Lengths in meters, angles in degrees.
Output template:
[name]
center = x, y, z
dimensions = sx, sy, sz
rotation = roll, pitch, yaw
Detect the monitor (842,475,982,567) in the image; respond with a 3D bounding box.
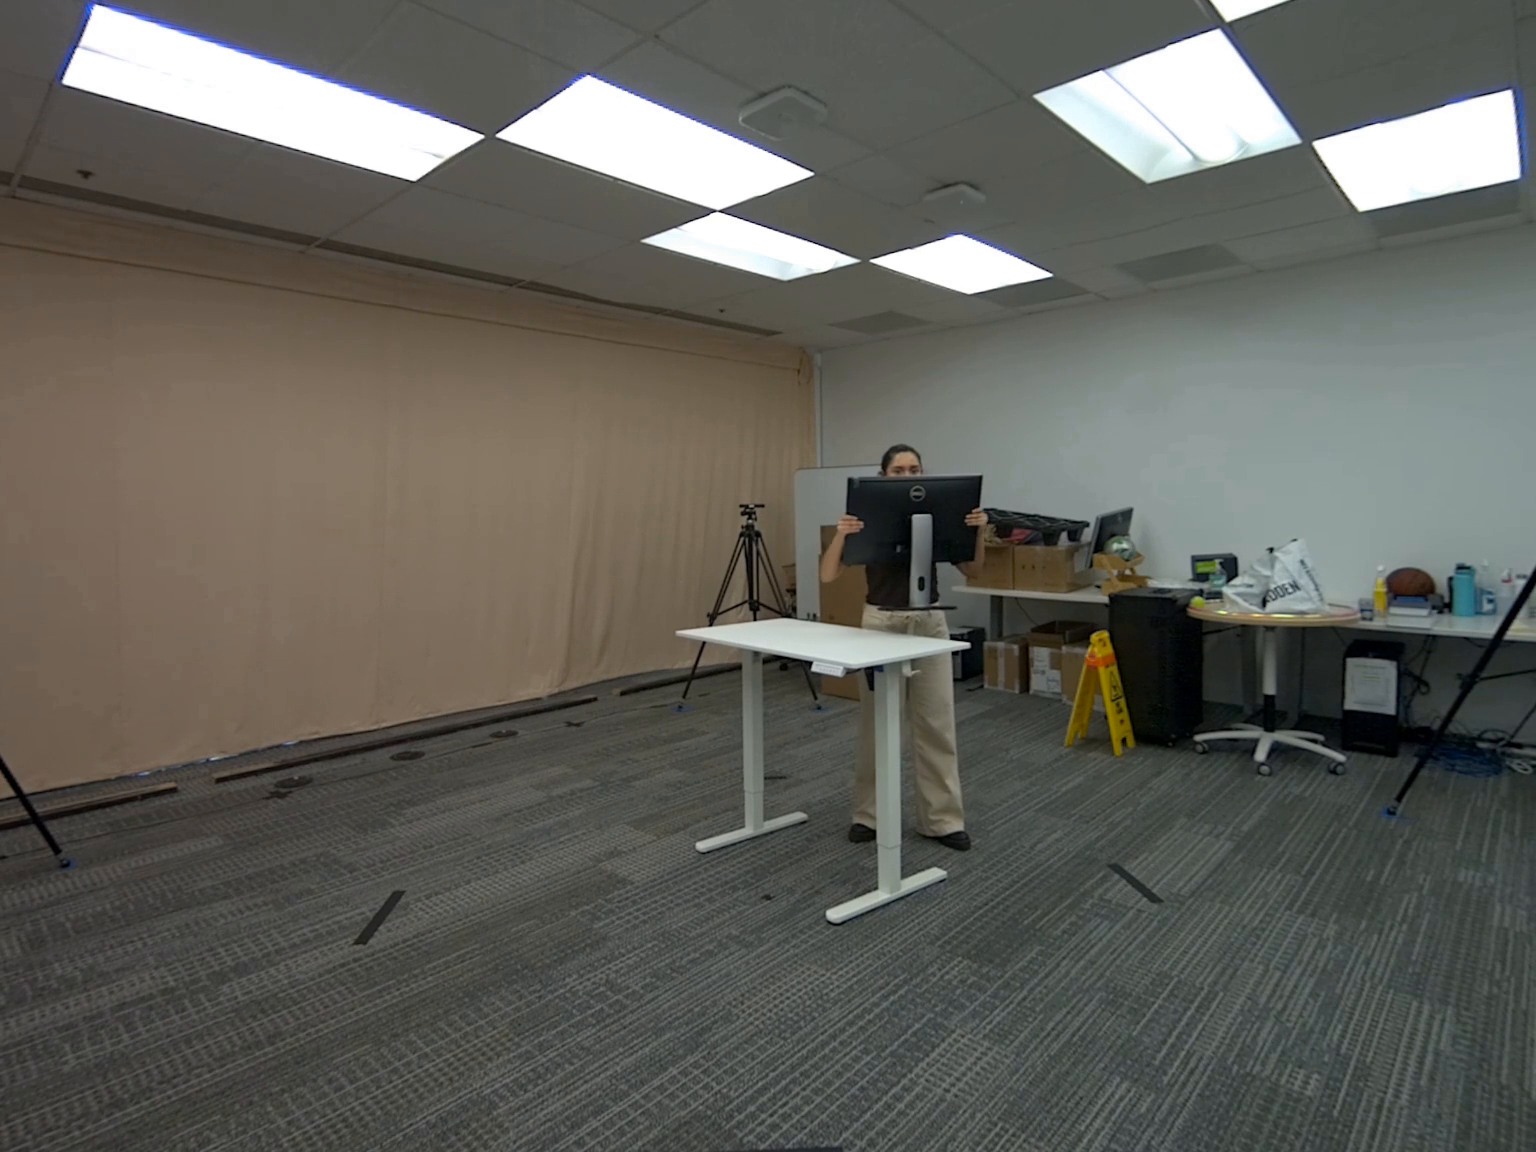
[monitor]
center = 0.577, -0.120, 3.252
dimensions = 0.534, 0.521, 0.189
rotation = -1, 3, -8
